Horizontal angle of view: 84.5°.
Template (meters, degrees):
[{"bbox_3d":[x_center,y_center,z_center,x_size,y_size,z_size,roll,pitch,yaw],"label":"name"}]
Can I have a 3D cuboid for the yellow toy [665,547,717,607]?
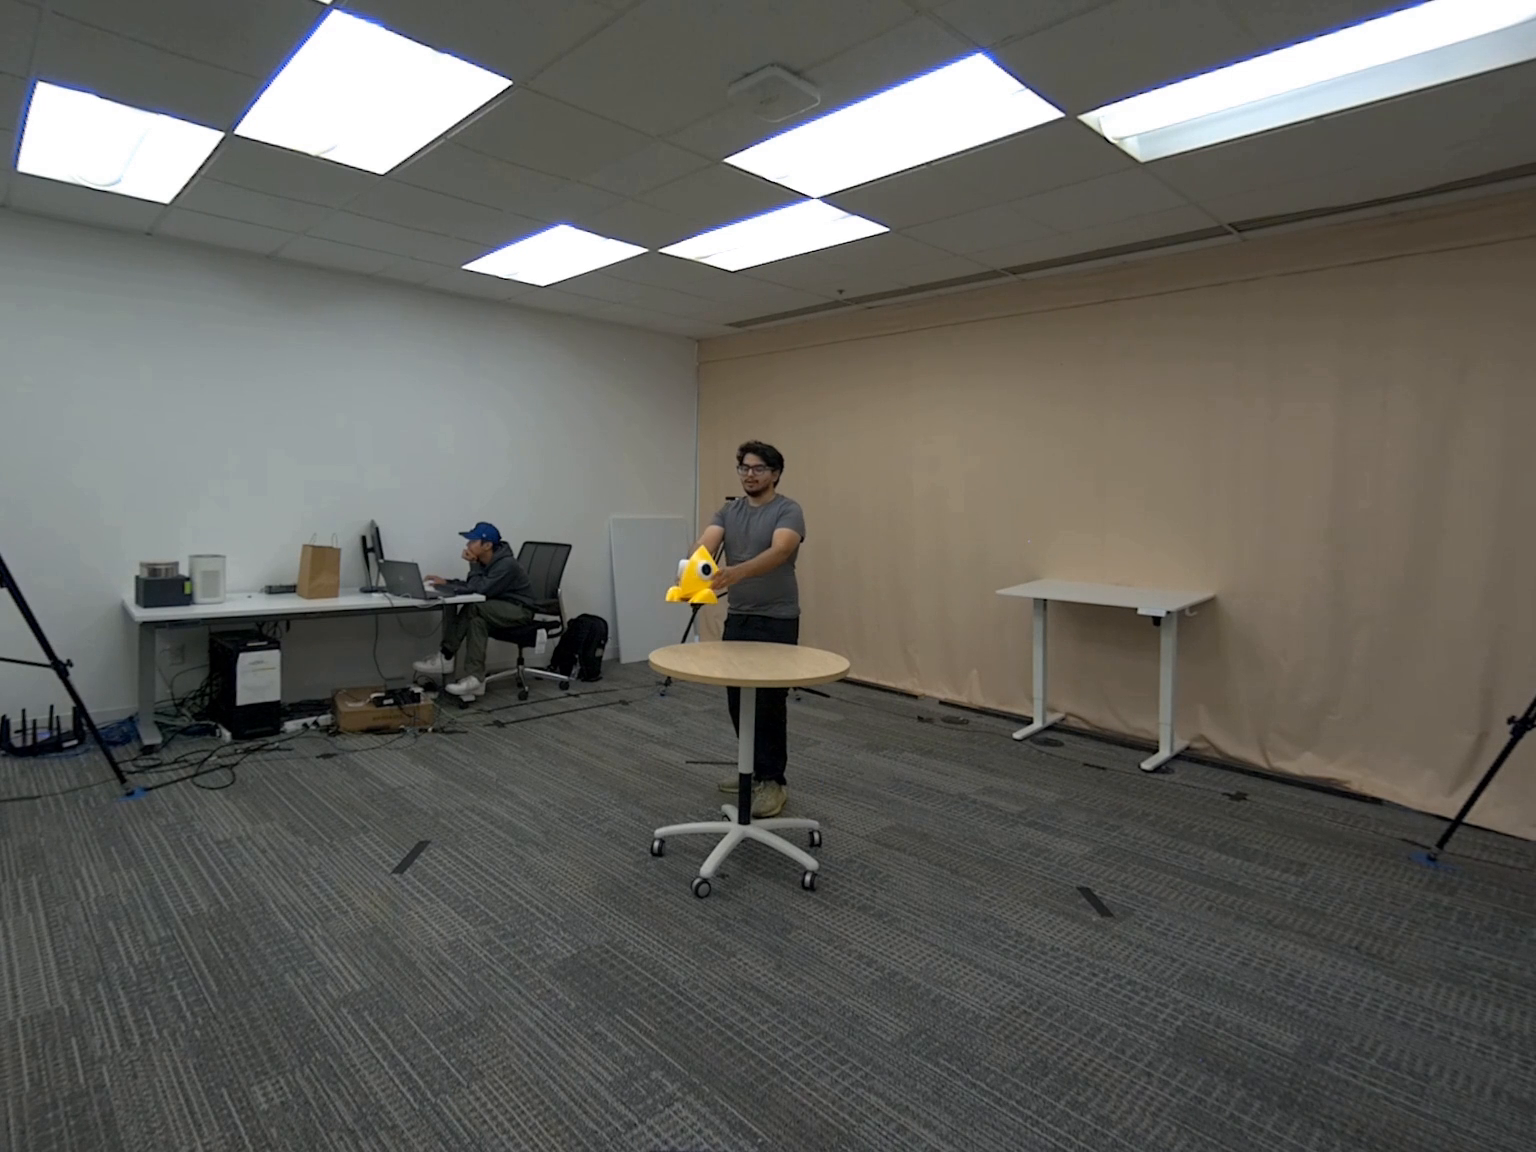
[{"bbox_3d":[-0.308,-0.011,3.387,0.209,0.231,0.189,2,-1,27],"label":"yellow toy"}]
